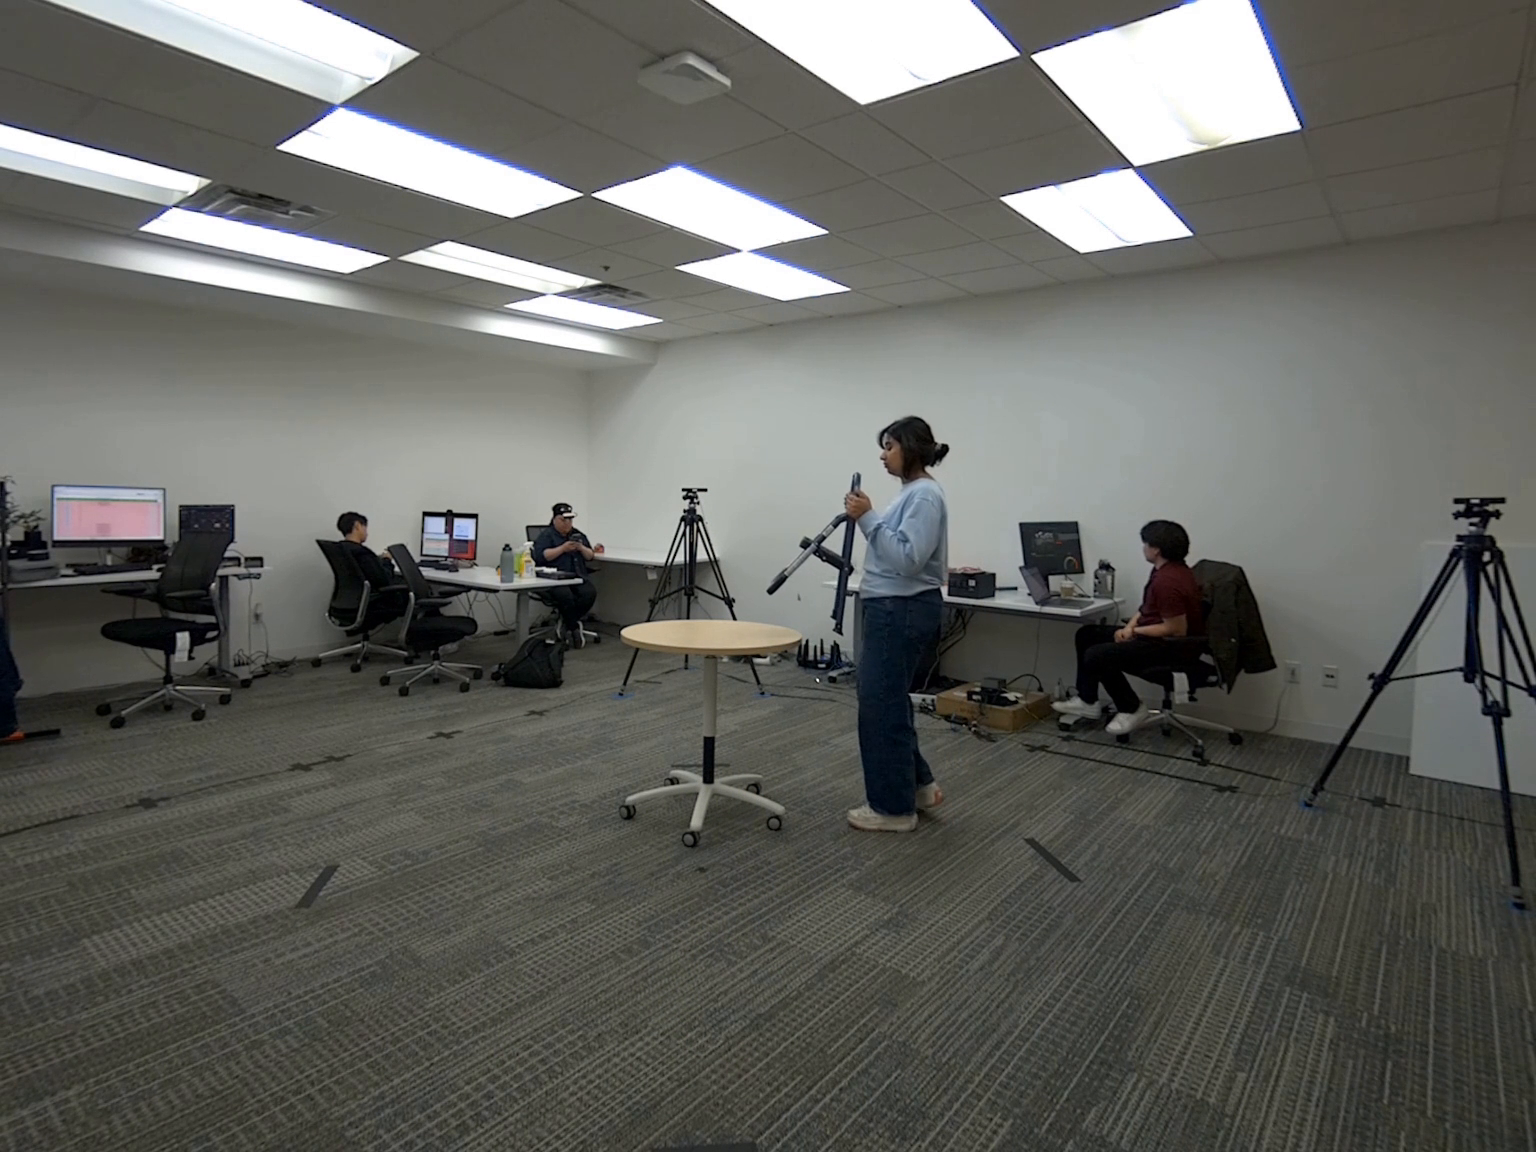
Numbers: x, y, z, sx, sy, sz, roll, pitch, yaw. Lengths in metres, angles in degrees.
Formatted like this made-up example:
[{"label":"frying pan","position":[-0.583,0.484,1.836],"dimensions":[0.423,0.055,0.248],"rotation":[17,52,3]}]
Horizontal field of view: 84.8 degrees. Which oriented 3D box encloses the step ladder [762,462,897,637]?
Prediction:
[{"label":"step ladder","position":[0.284,-0.129,3.588],"dimensions":[0.351,0.605,0.430],"rotation":[29,5,2]}]
